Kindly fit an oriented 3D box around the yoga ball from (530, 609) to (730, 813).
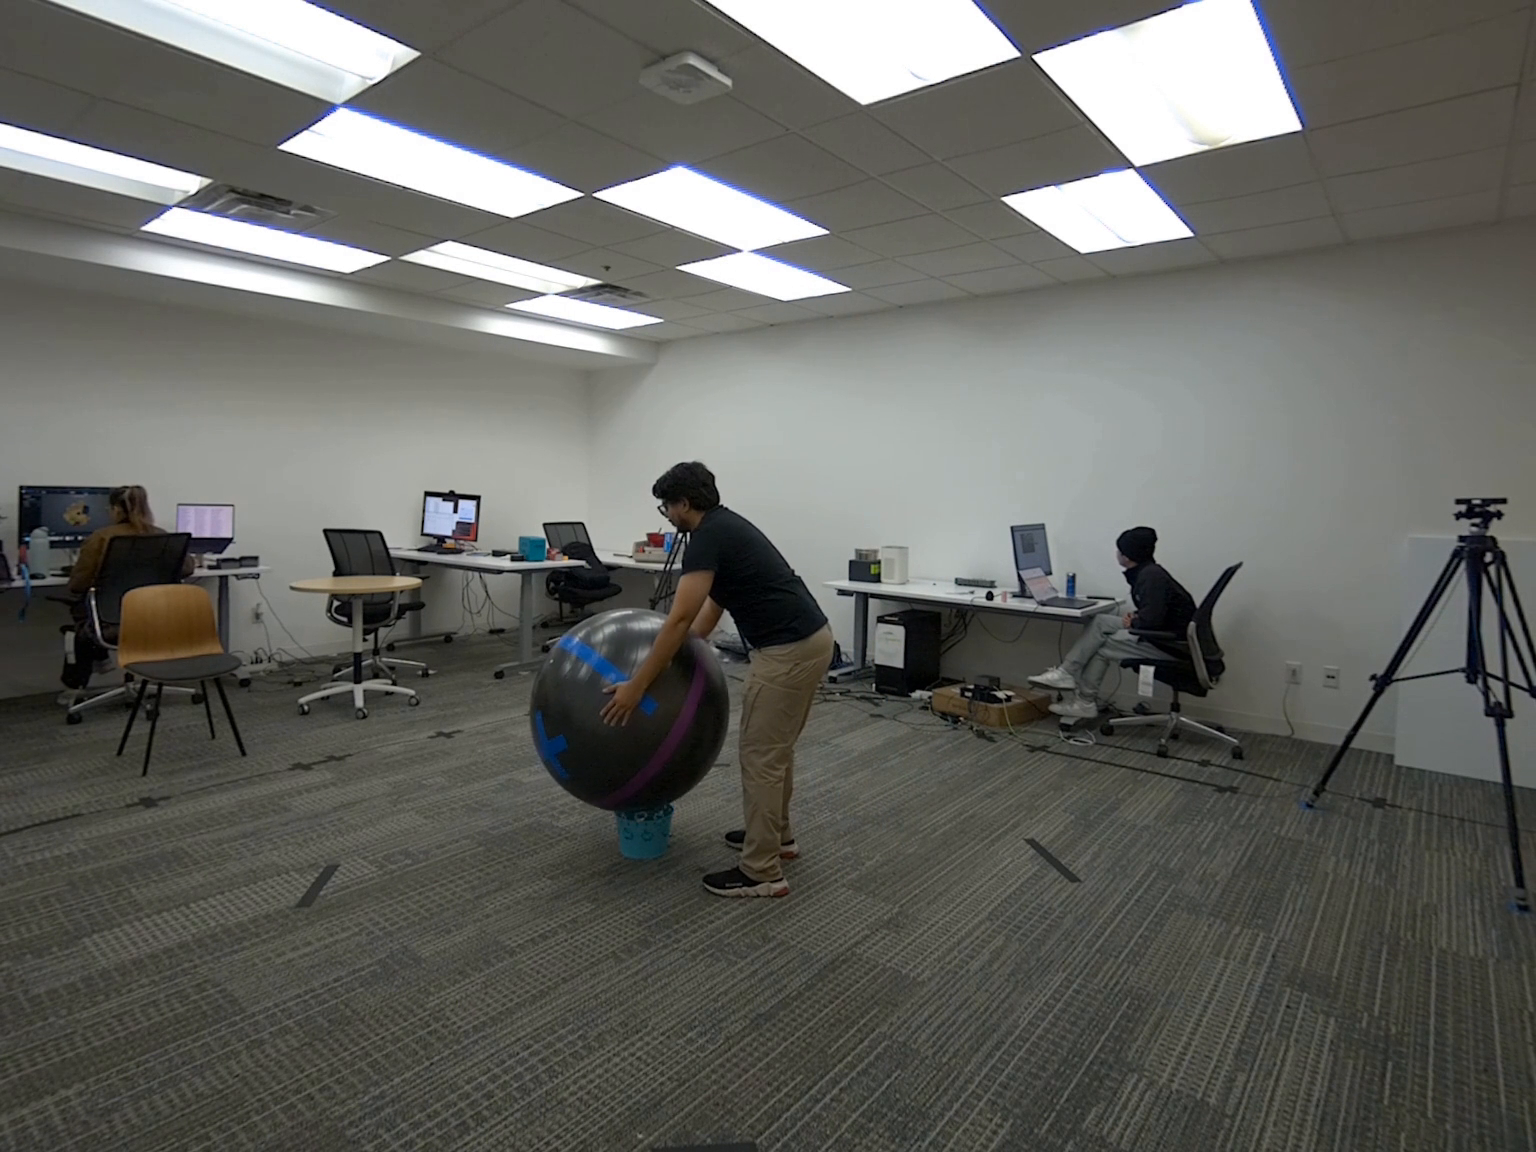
[{"bbox_3d":[-0.540,0.503,3.252,0.757,0.756,0.761,1,4,-2],"label":"yoga ball"}]
